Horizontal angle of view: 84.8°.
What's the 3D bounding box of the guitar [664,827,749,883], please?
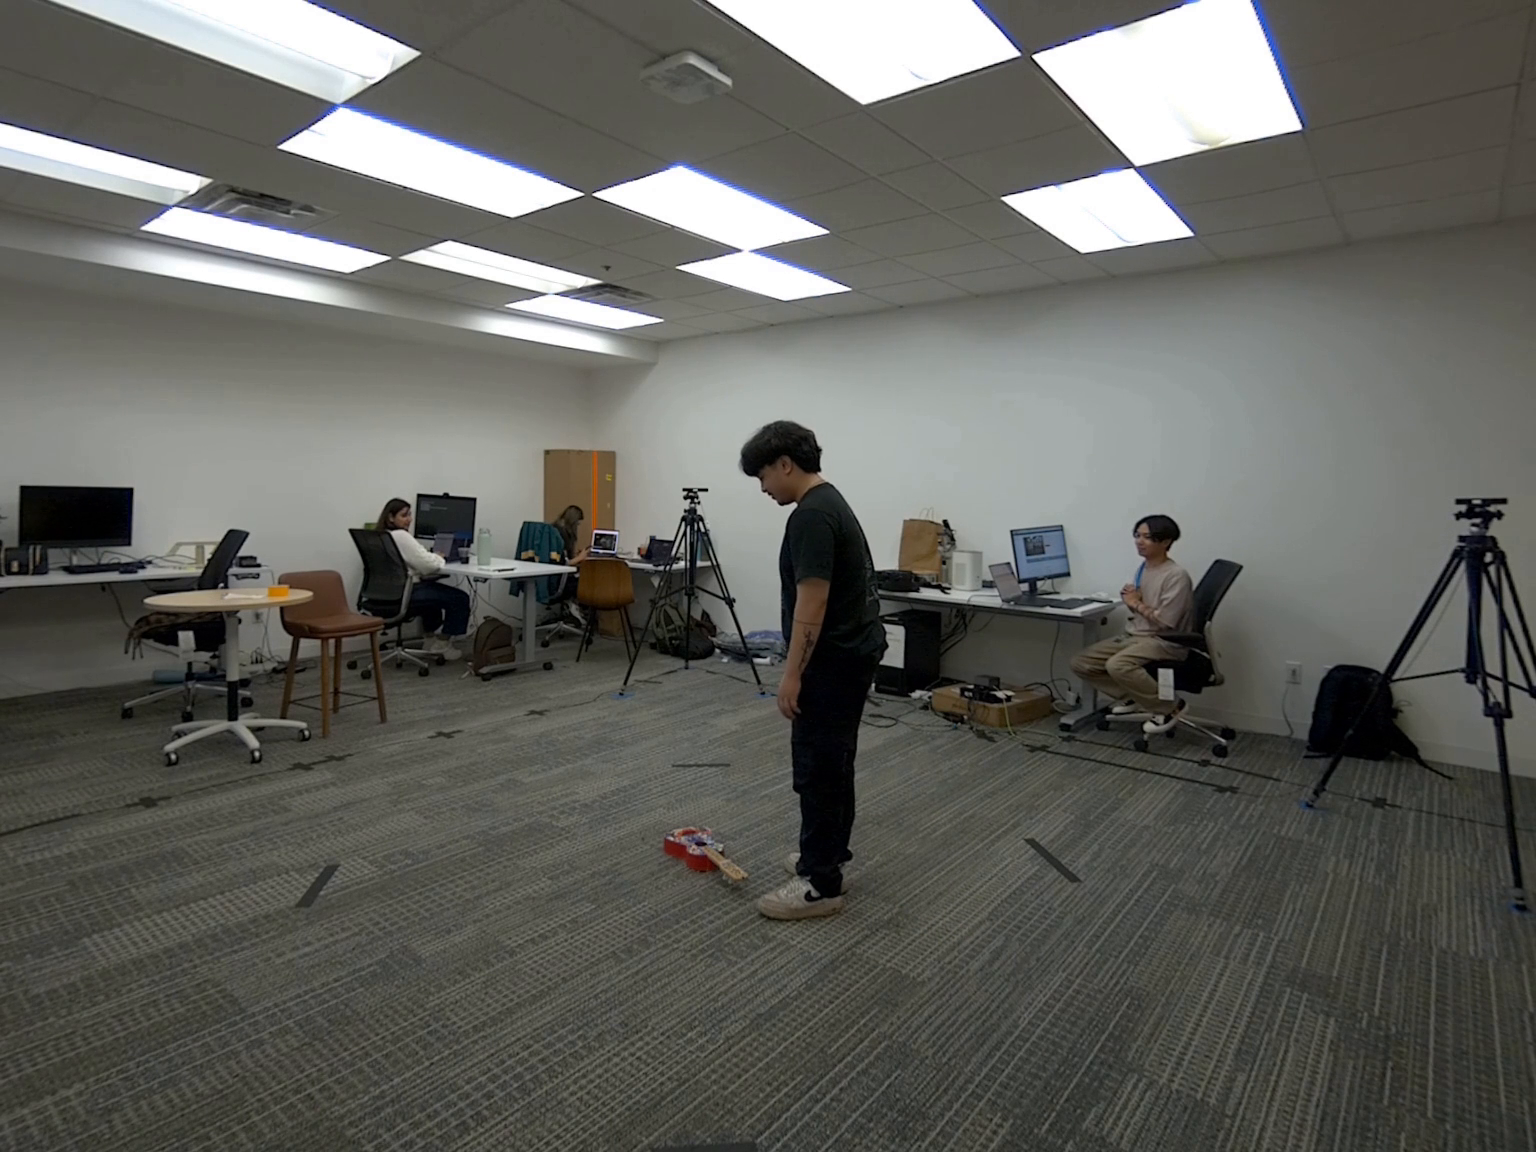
[{"bbox_3d":[-0.249,1.032,3.114,0.189,0.070,0.509,-1,5,-21],"label":"guitar"}]
